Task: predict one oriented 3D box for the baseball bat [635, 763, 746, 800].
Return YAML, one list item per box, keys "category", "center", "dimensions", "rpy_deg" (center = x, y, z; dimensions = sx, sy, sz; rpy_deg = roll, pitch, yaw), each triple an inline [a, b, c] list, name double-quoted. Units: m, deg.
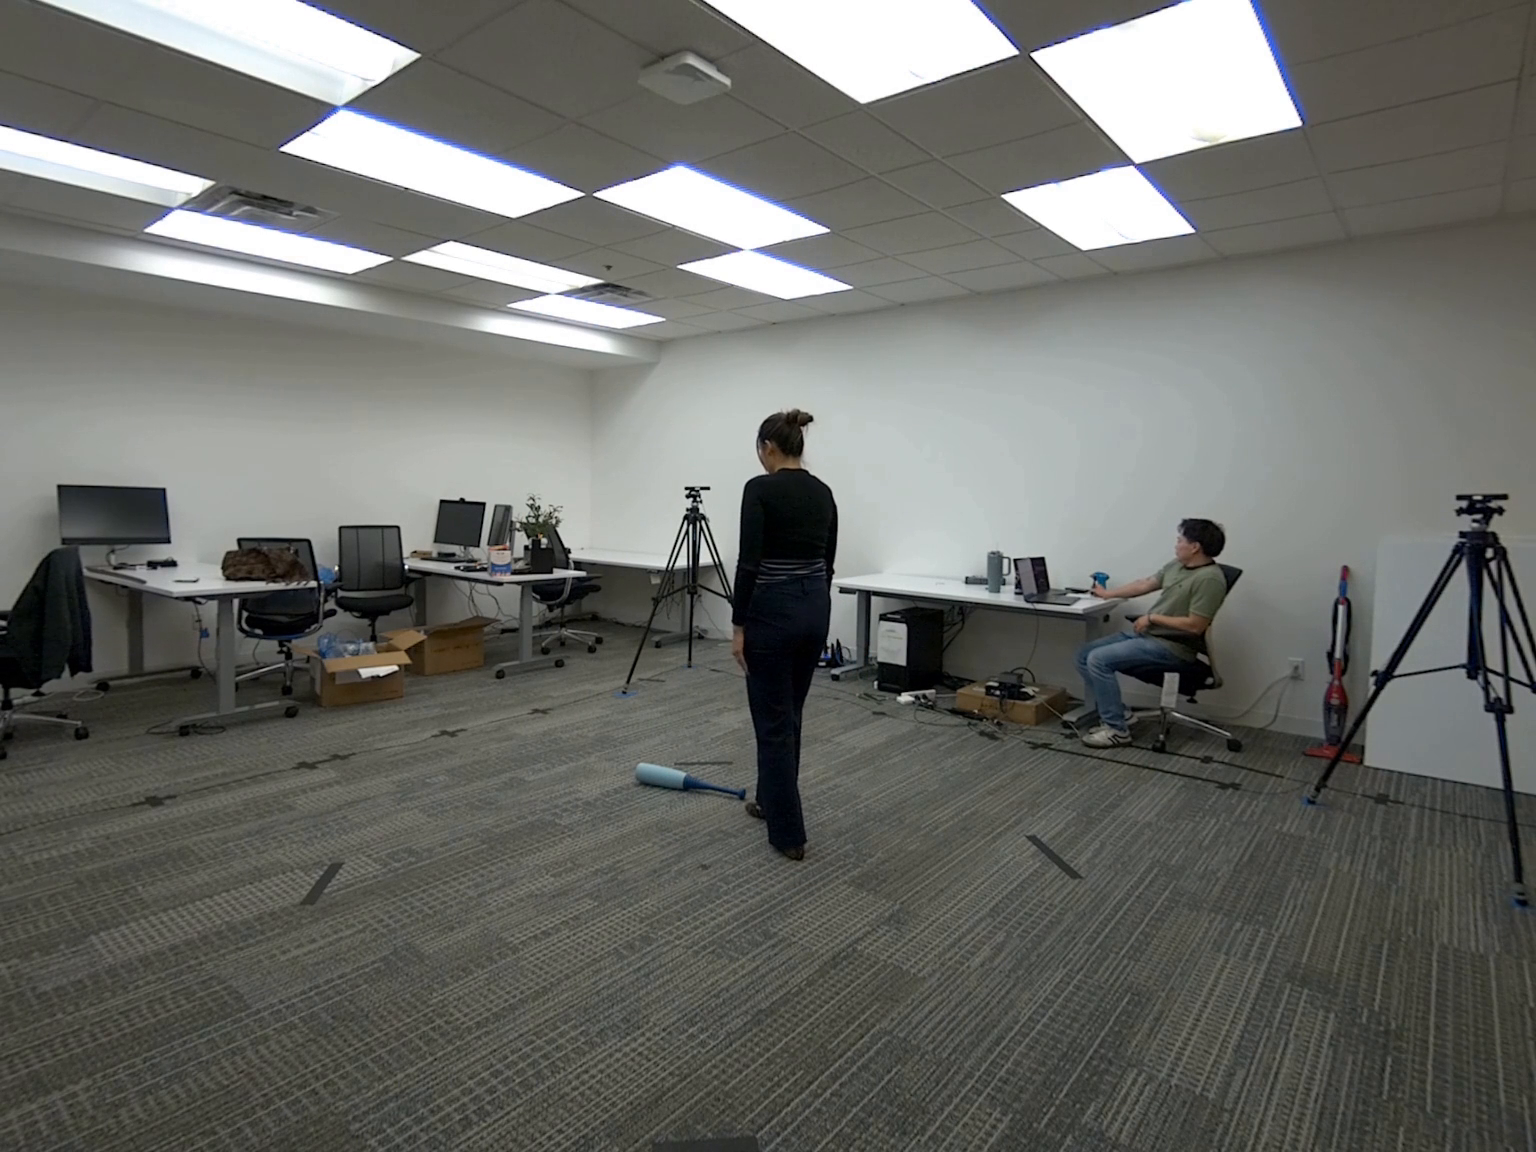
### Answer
- category: "baseball bat"
  center: [-0.368, 0.946, 3.909]
  dimensions: [0.555, 0.089, 0.087]
  rpy_deg: [6, 5, 21]
